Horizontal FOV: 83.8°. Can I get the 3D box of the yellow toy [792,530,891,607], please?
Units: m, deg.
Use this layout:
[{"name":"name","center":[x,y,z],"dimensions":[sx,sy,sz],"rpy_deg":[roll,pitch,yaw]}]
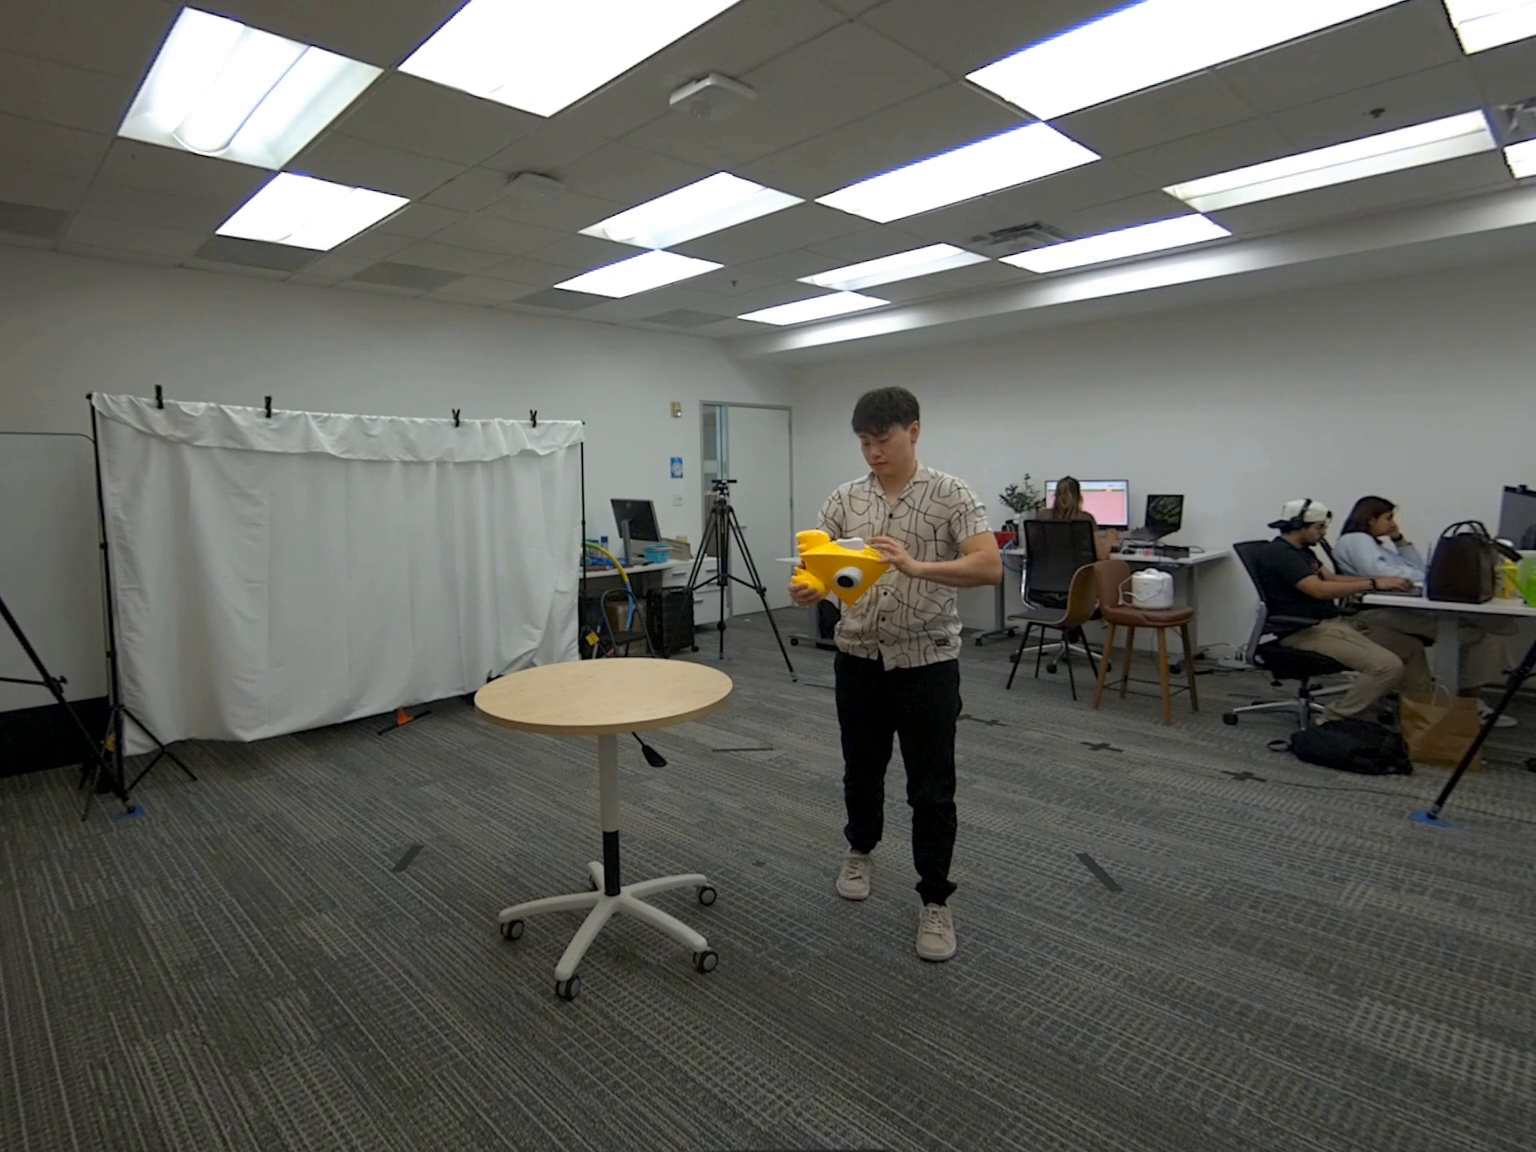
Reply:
[{"name":"yellow toy","center":[0.220,-0.043,2.413],"dimensions":[0.236,0.208,0.186],"rpy_deg":[-12,-28,39]}]
